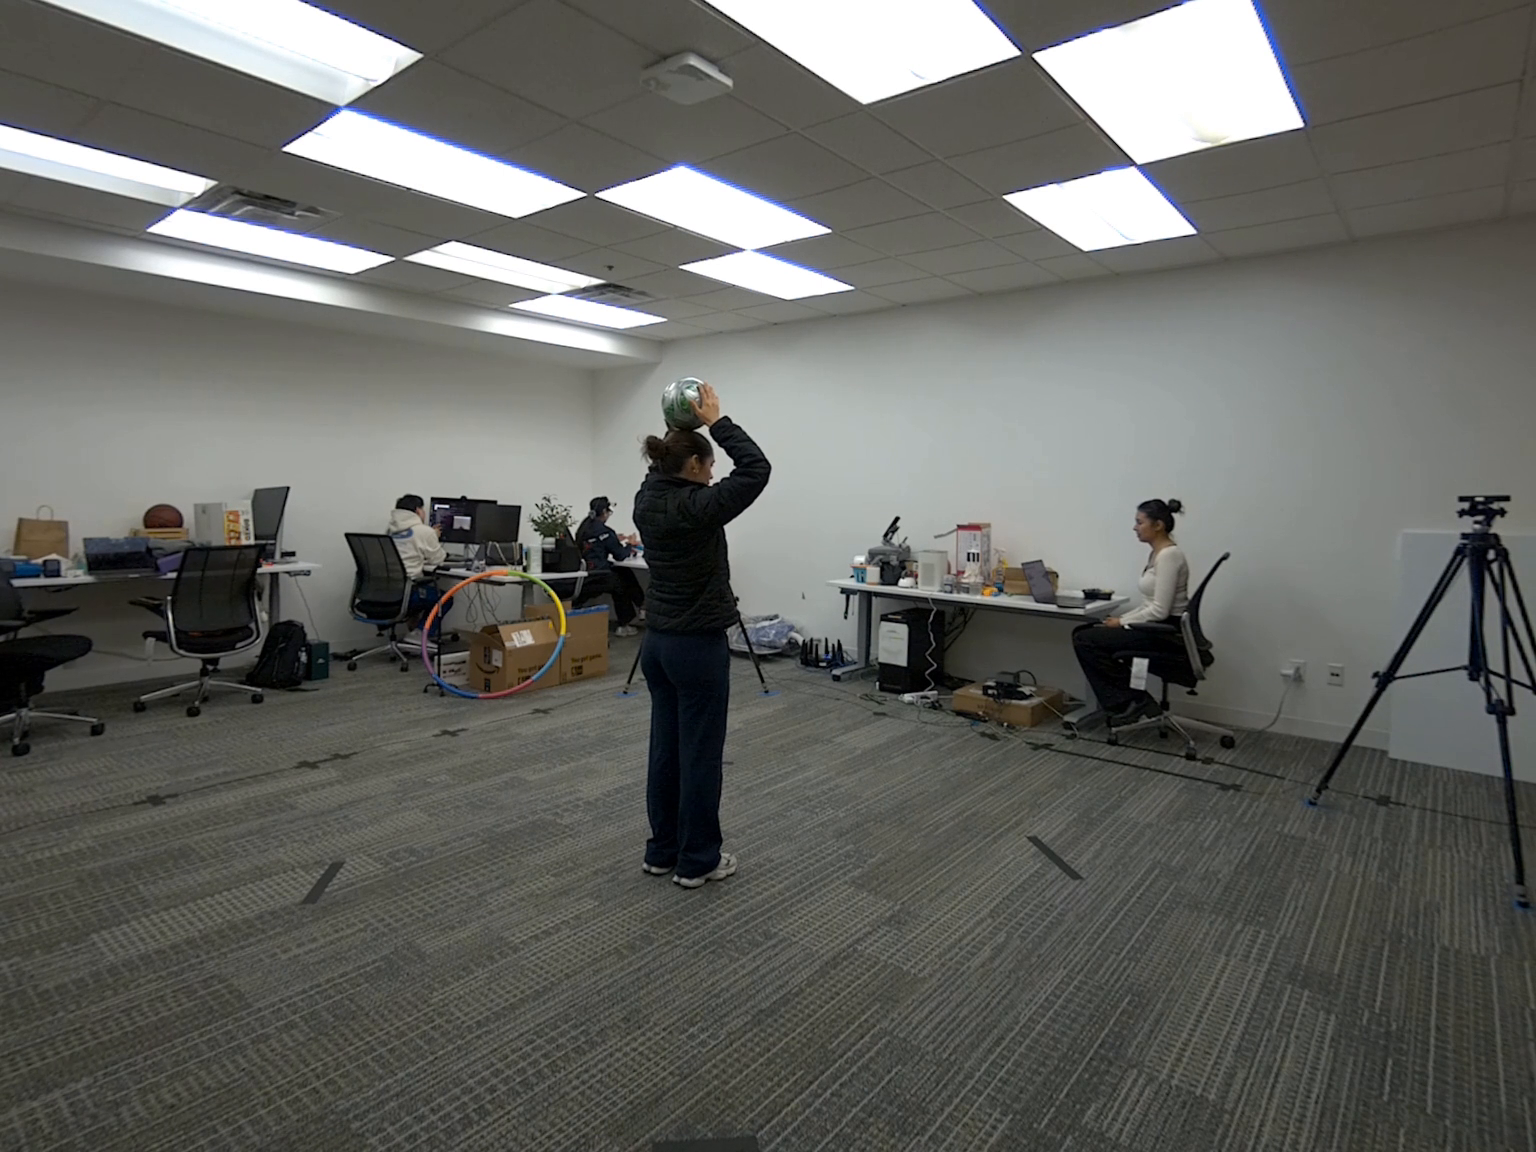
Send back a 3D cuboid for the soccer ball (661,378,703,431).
[{"bbox_3d":[-0.294,-0.615,3.033,0.187,0.187,0.188,1,4,-2],"label":"soccer ball"}]
